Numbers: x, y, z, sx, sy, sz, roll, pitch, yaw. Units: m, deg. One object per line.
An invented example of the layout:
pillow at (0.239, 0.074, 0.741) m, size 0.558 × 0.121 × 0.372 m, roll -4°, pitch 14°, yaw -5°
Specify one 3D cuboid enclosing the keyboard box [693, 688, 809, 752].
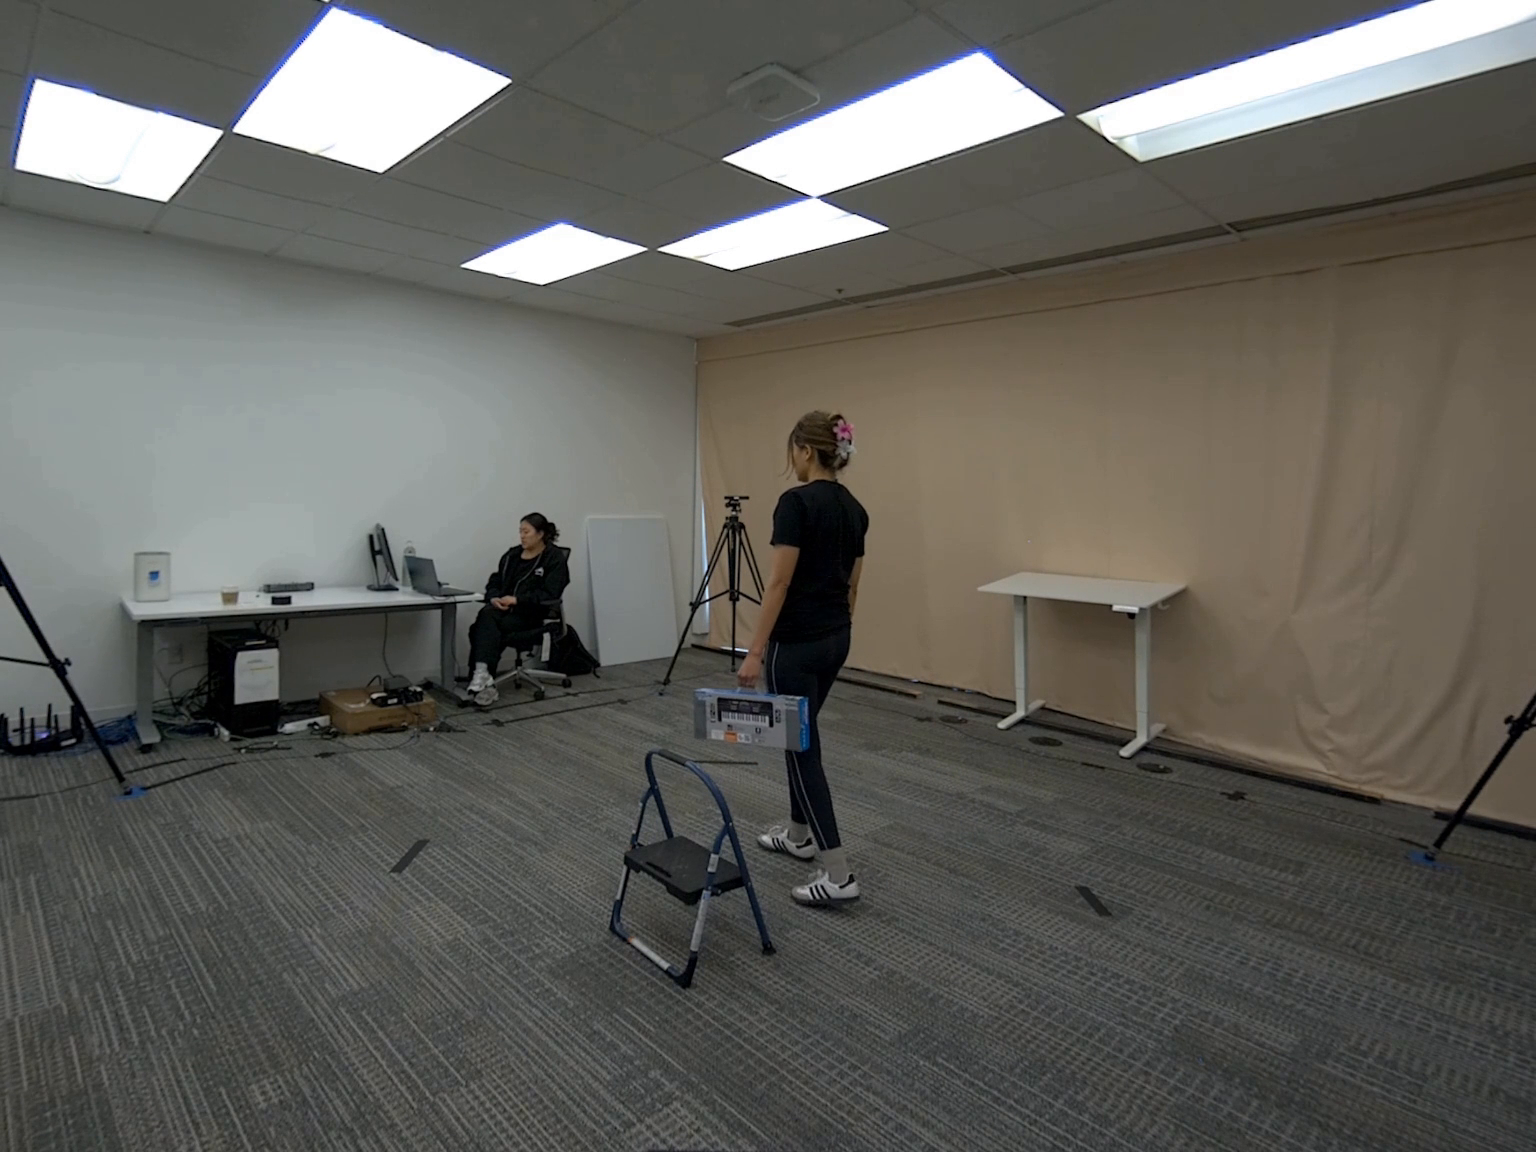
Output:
keyboard box at (-0.070, 0.495, 2.916) m, size 0.446 × 0.176 × 0.058 m, roll 0°, pitch 1°, yaw 33°
